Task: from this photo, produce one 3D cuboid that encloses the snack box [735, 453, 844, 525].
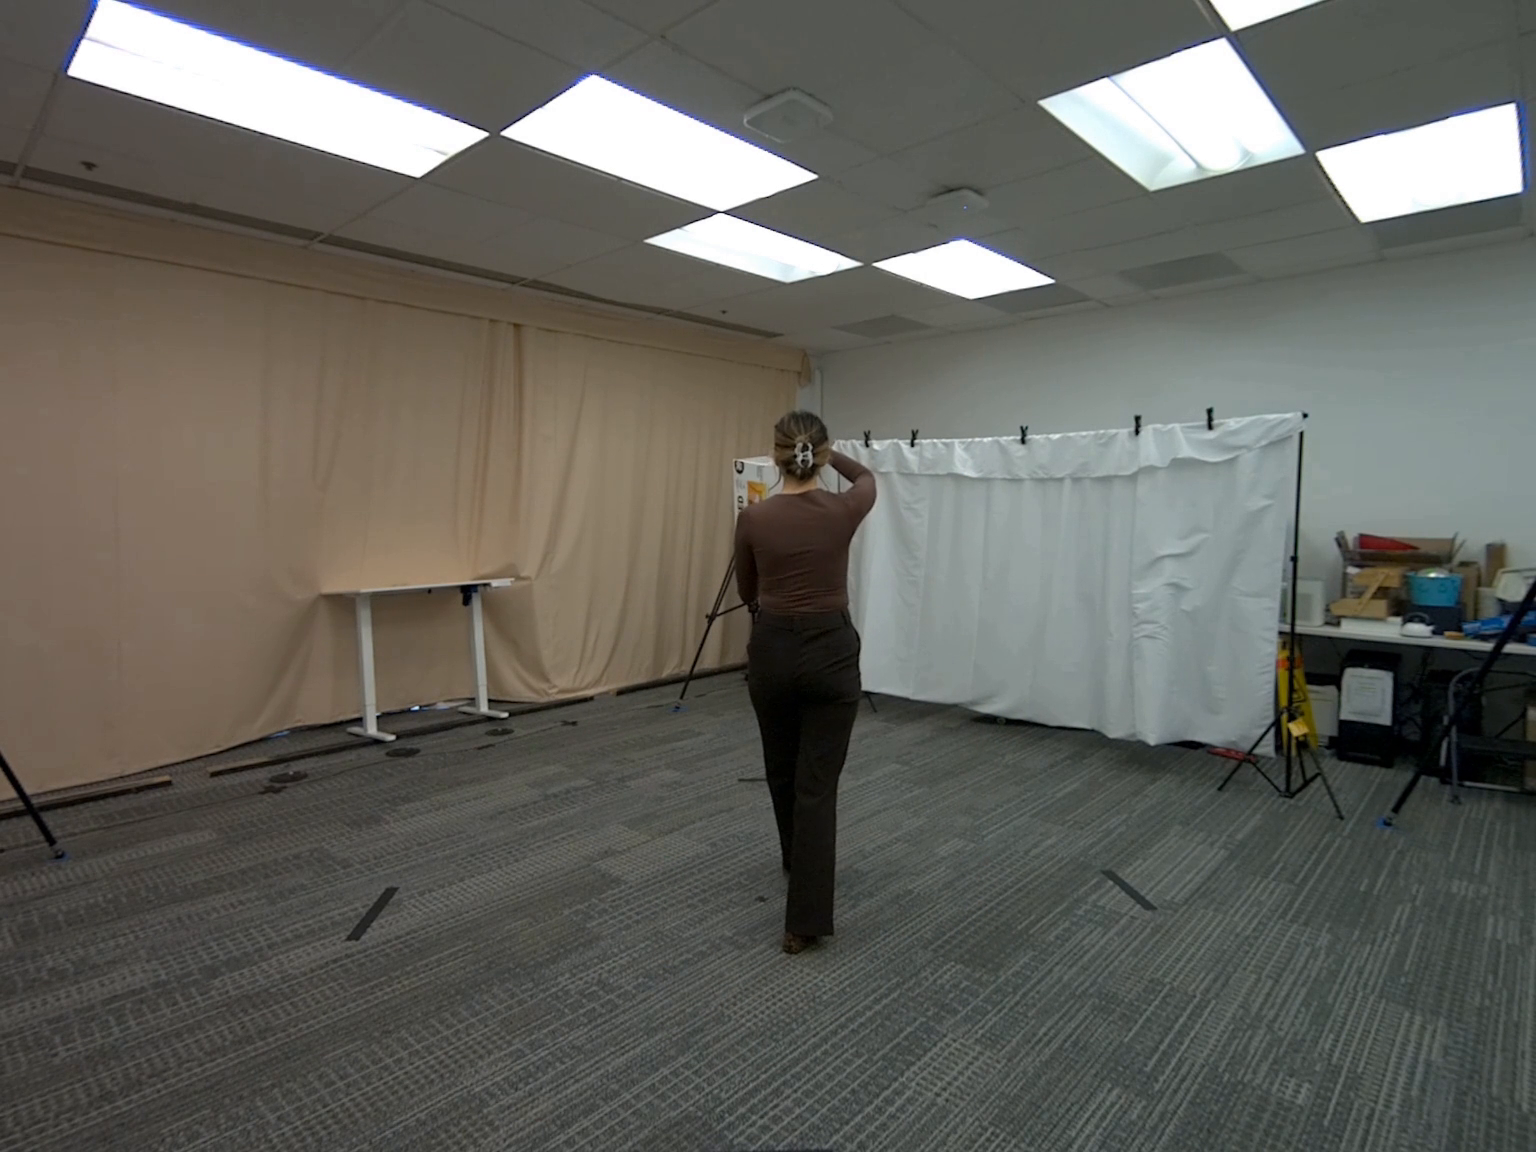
[{"bbox_3d":[0.078,-0.245,3.156,0.332,0.401,0.213,-10,16,-32],"label":"snack box"}]
